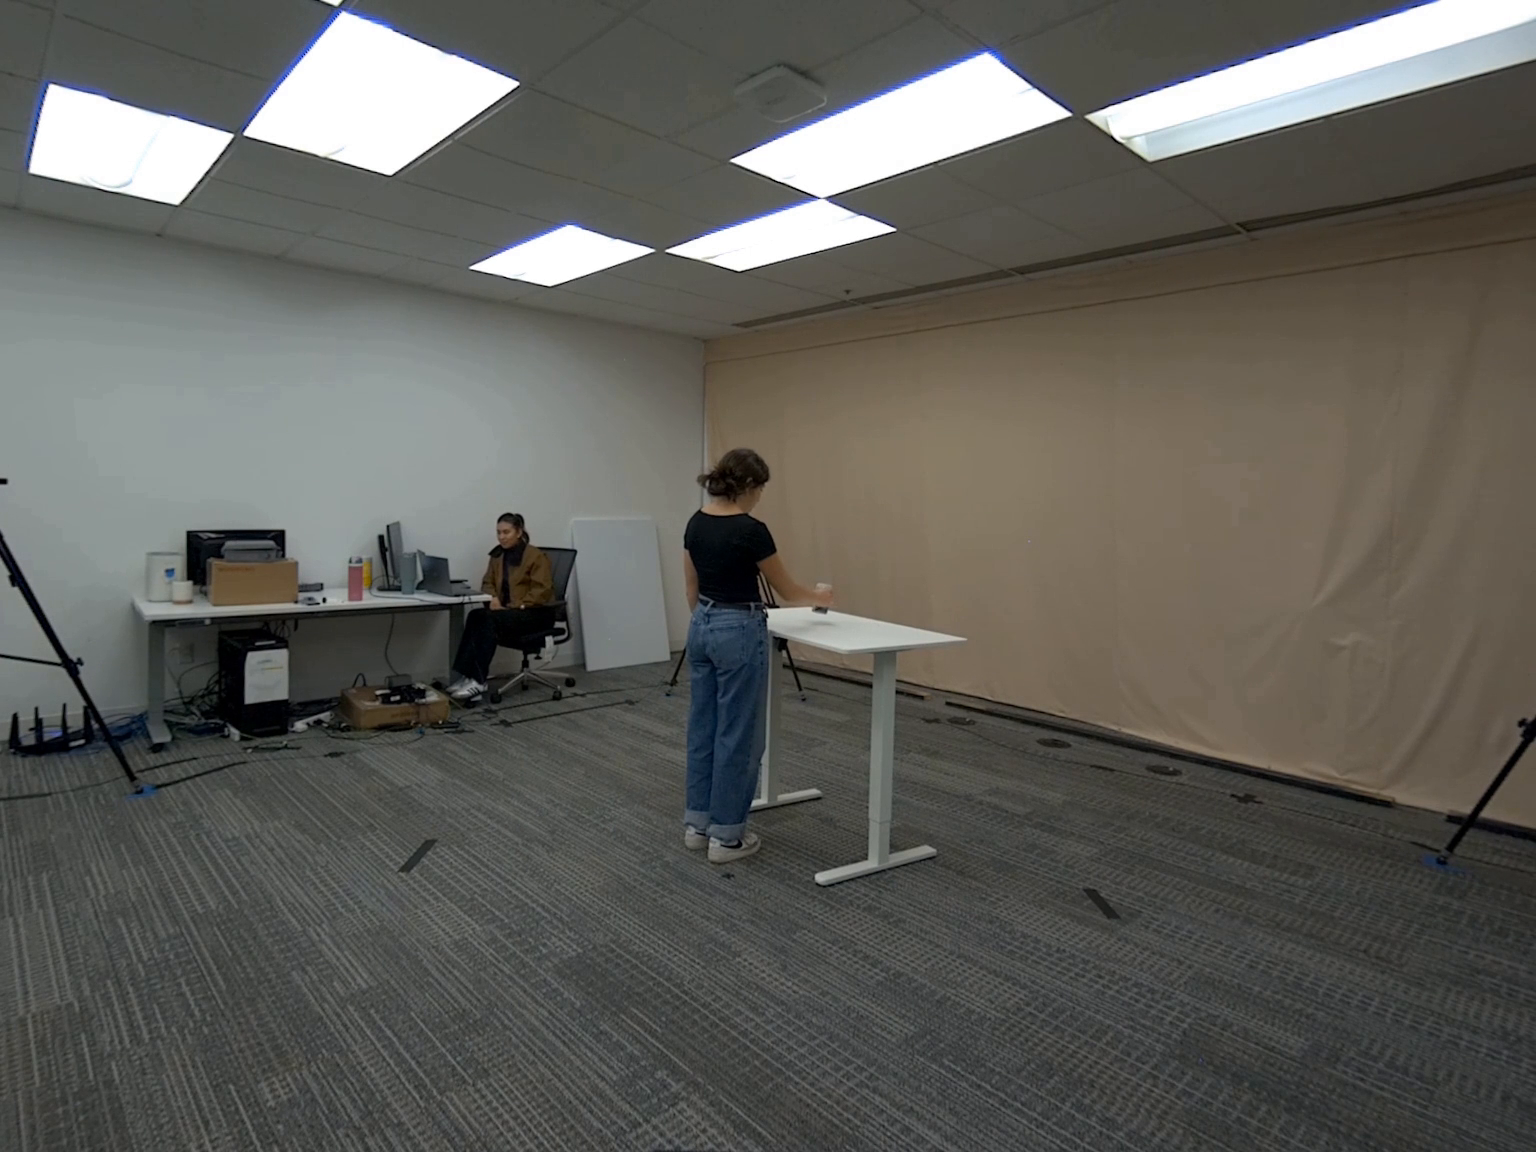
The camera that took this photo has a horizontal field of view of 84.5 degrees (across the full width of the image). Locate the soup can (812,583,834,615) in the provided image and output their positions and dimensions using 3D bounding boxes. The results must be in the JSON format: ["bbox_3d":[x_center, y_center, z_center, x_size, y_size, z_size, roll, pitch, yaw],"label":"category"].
[{"bbox_3d":[0.221,0.096,3.533,0.067,0.122,0.067,9,-7,0],"label":"soup can"}]
